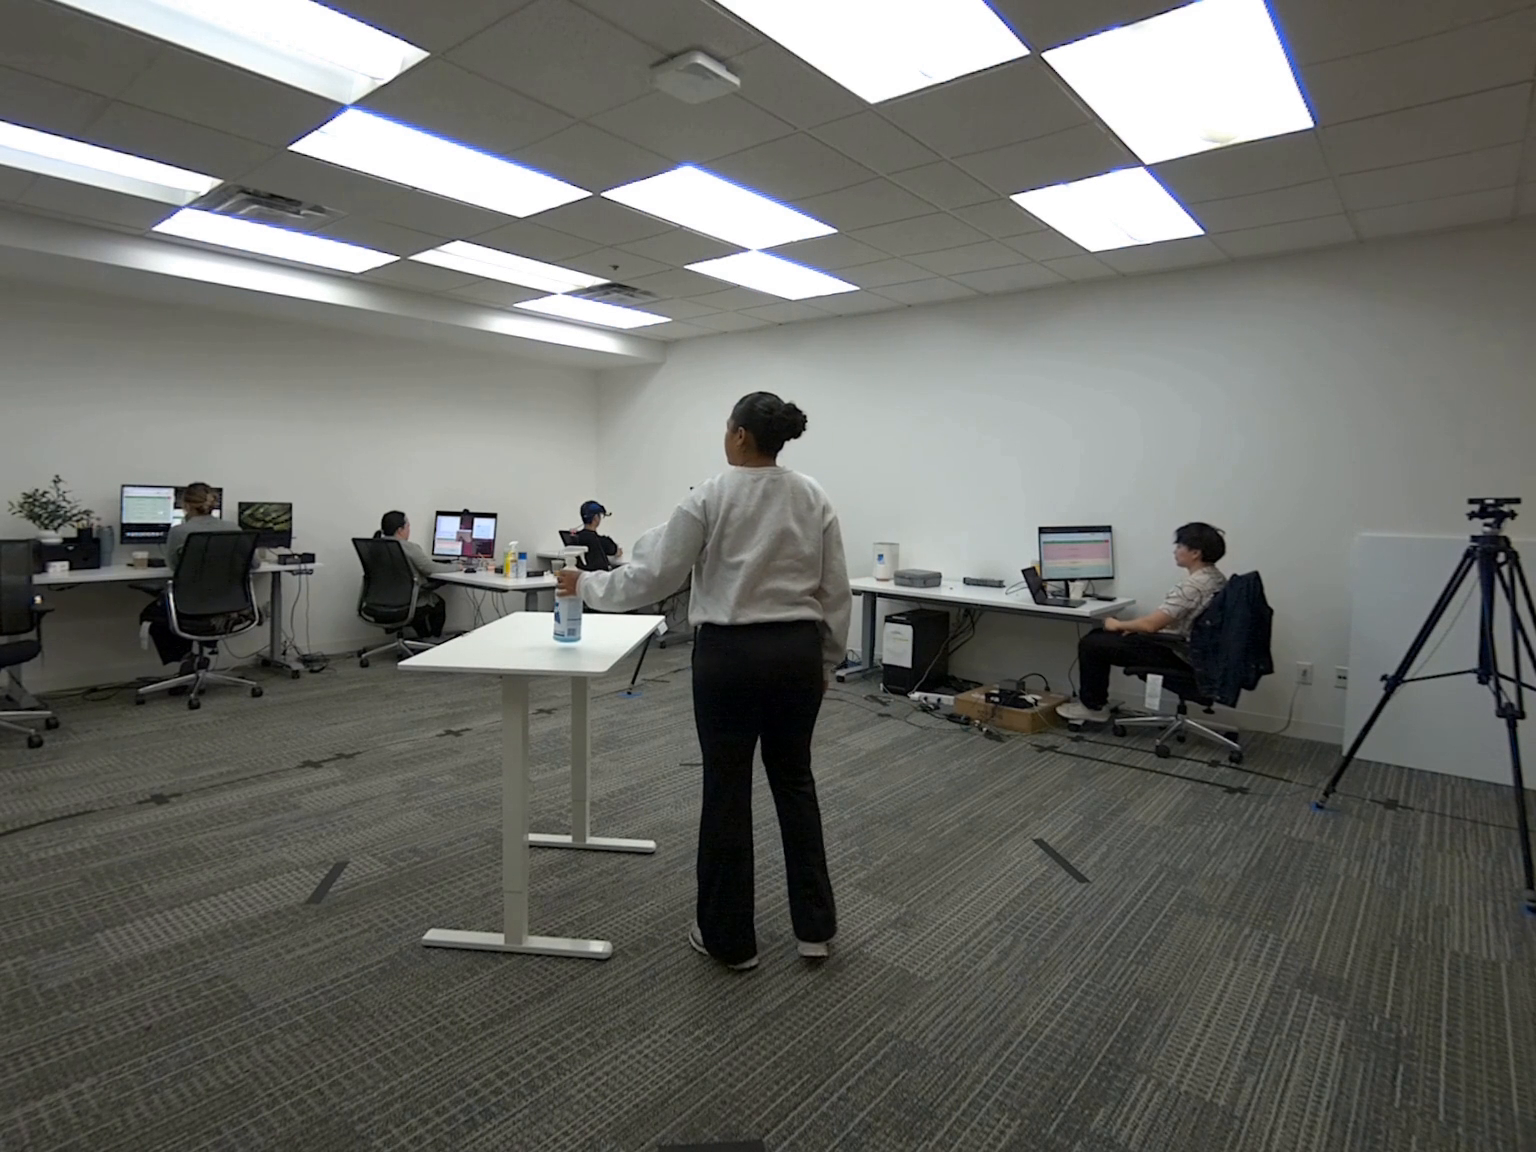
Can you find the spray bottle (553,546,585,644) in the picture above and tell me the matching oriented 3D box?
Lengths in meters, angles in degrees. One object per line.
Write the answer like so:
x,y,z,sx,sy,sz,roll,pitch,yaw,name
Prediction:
-0.621,0.054,2.636,0.093,0.297,0.084,6,3,30,spray bottle
